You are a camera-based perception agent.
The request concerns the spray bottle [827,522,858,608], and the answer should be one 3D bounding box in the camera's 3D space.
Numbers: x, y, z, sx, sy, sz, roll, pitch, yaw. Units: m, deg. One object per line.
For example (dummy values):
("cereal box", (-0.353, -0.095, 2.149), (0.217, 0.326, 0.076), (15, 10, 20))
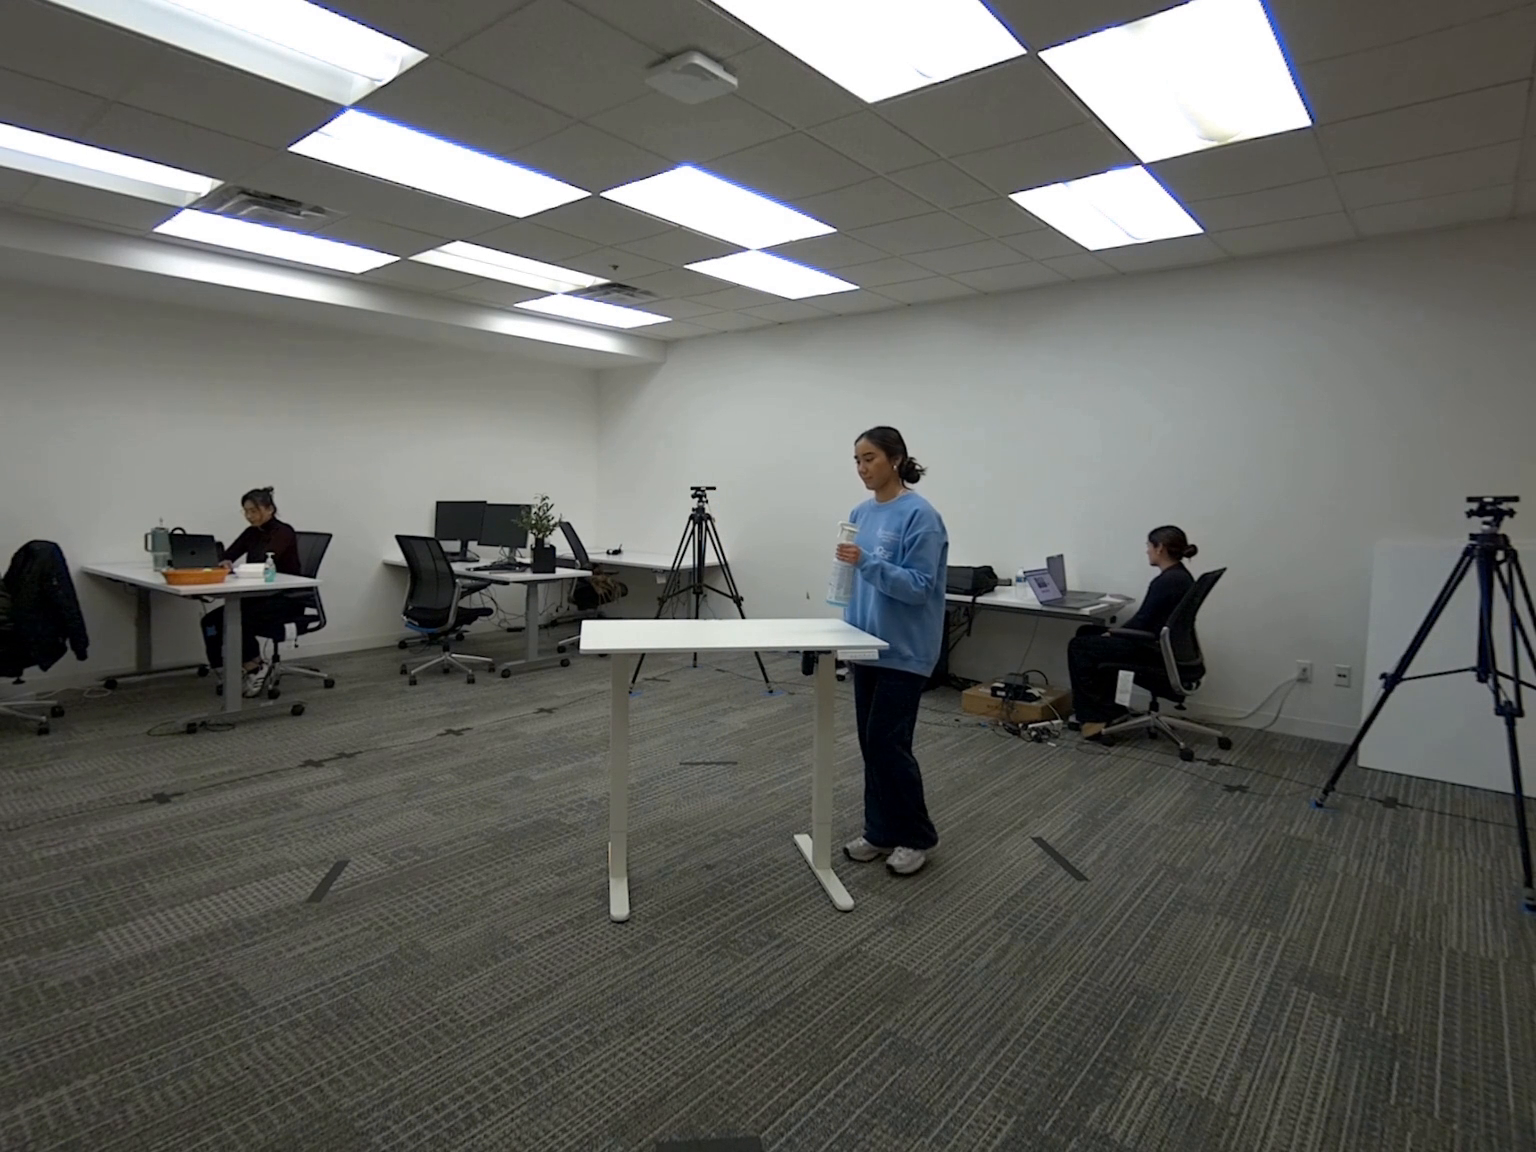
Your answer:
("spray bottle", (0.269, -0.043, 3.016), (0.090, 0.296, 0.088), (8, 4, -4))
